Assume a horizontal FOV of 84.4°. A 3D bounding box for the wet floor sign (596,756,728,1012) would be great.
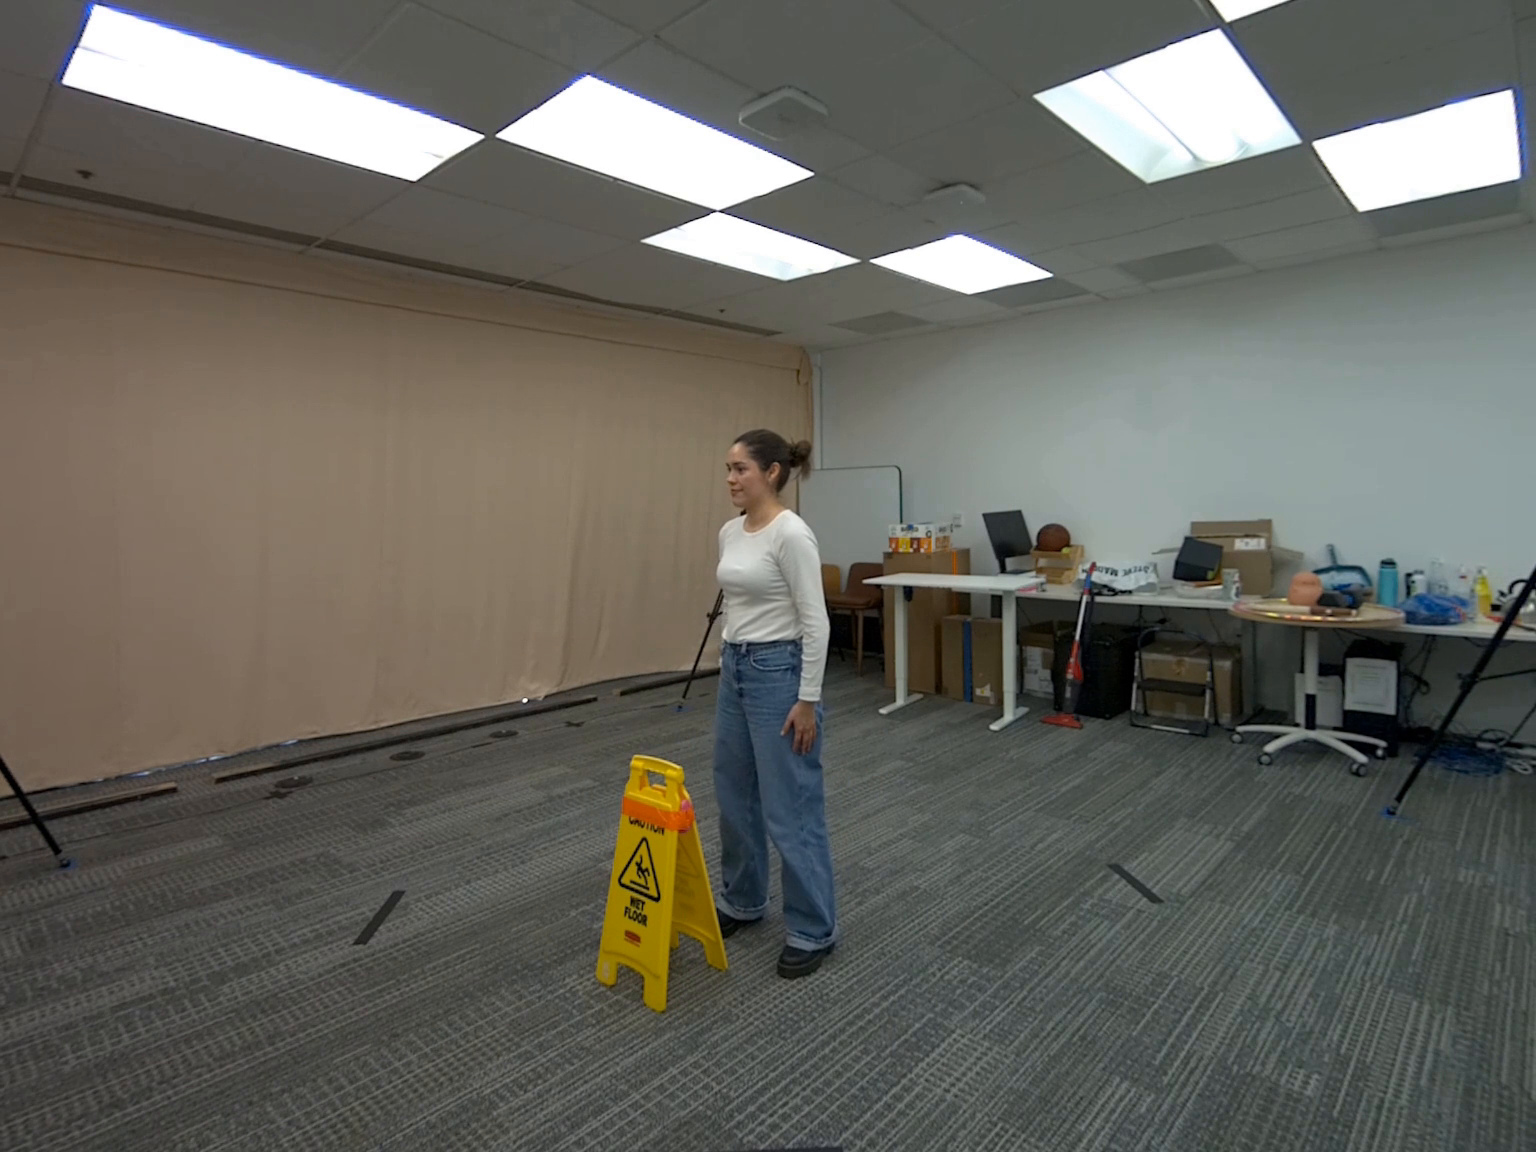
[{"bbox_3d":[-0.317,0.868,2.492,0.291,0.645,0.281,2,4,39],"label":"wet floor sign"}]
